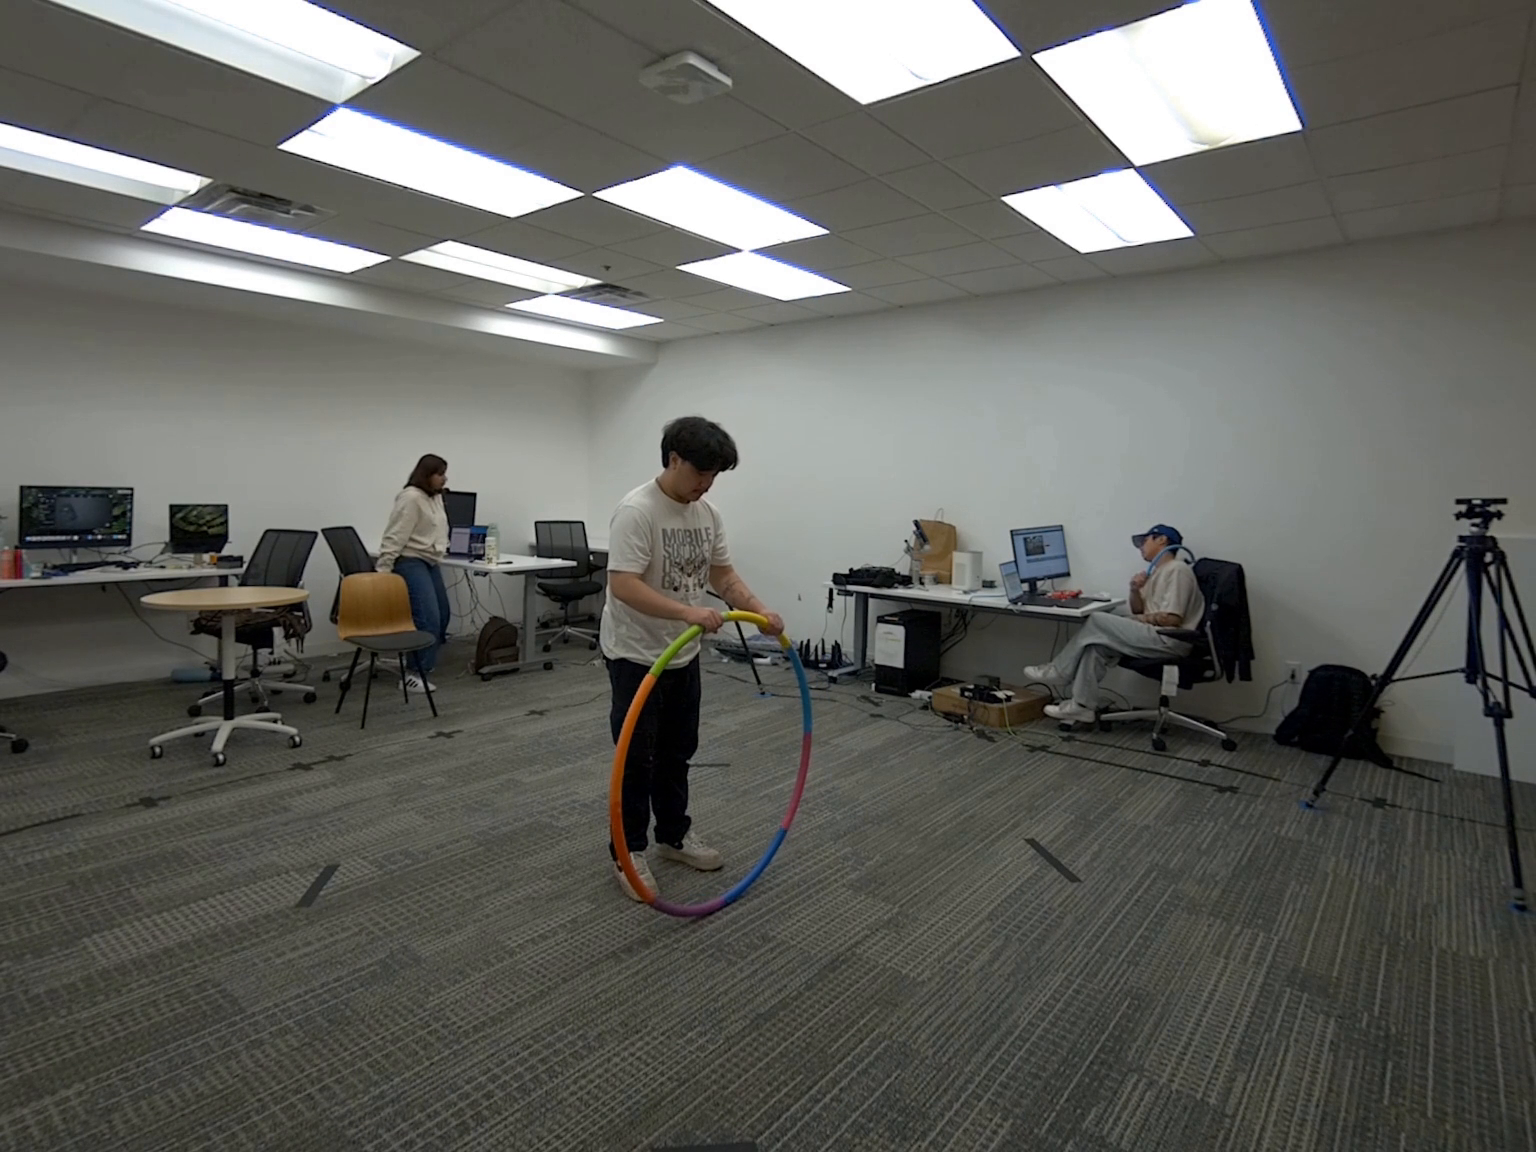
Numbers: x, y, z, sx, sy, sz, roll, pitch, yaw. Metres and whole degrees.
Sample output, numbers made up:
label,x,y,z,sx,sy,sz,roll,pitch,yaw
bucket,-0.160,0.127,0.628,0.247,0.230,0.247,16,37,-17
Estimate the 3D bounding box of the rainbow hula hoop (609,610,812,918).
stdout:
label,x,y,z,sx,sy,sz,roll,pitch,yaw
rainbow hula hoop,-0.154,0.612,2.805,0.053,0.982,0.956,3,5,40
